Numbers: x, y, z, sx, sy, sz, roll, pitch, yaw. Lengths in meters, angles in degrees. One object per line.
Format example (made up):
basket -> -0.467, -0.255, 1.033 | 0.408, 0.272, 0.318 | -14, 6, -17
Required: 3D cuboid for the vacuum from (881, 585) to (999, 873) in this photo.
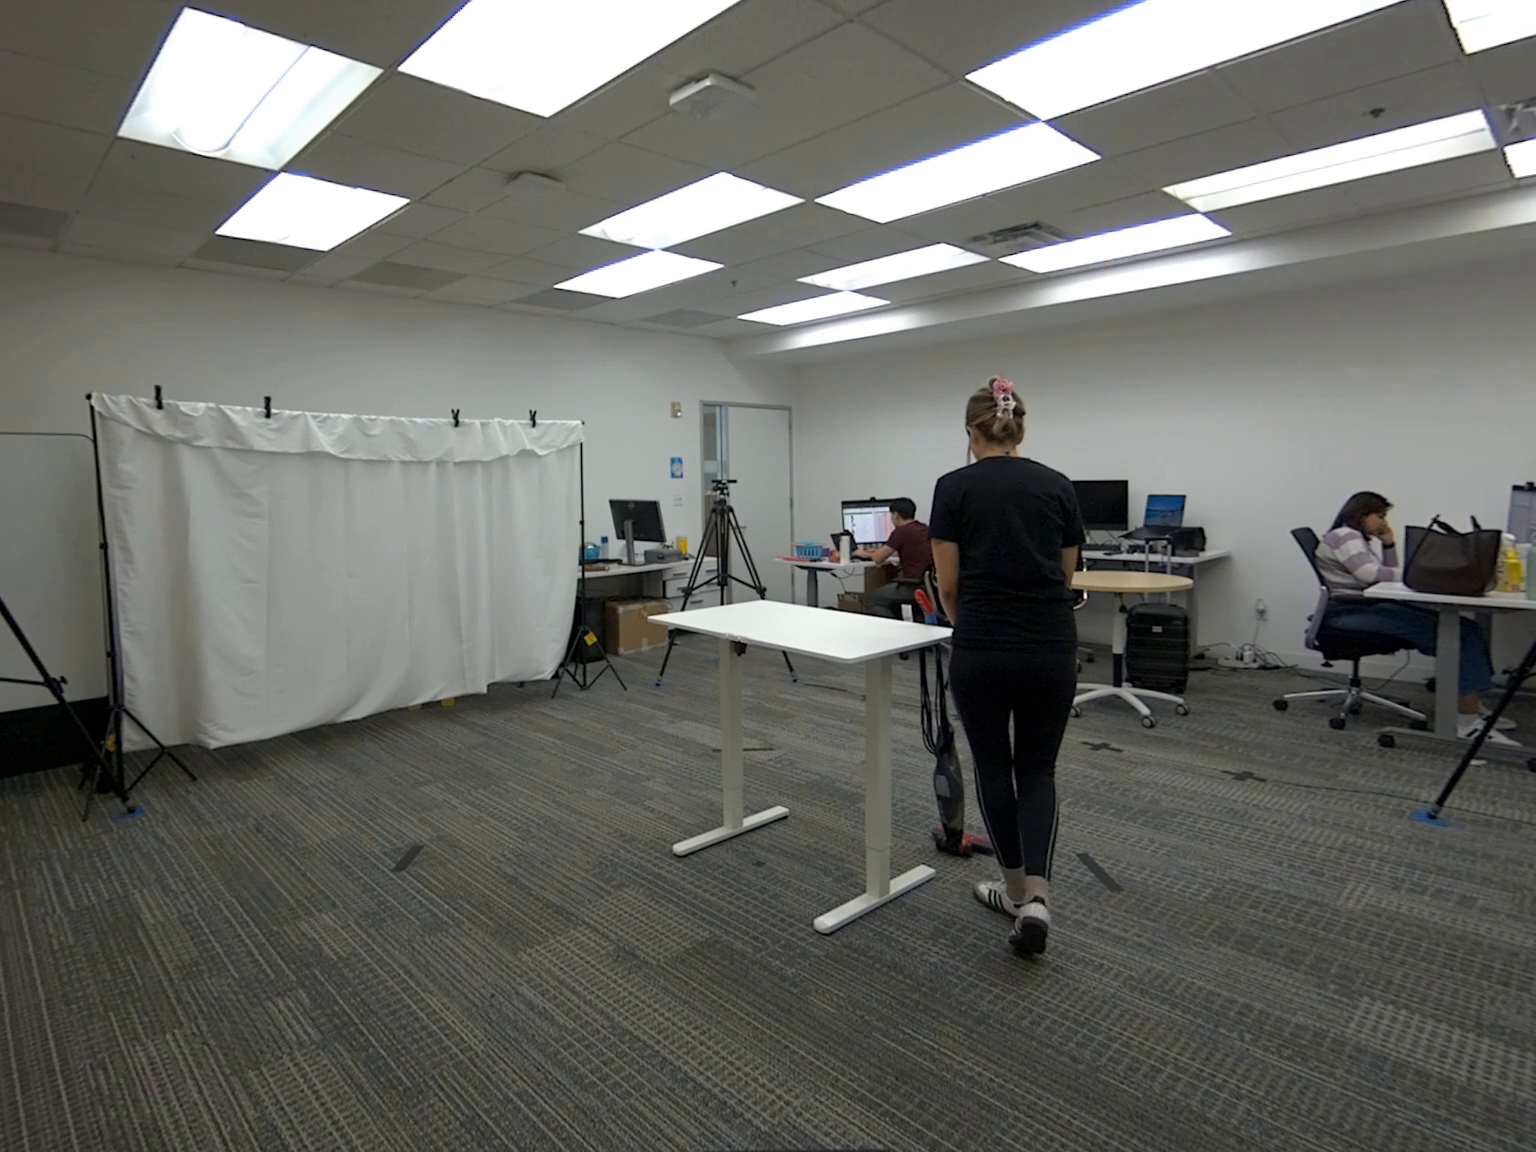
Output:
vacuum -> 0.634, 0.548, 3.054 | 0.260, 1.030, 0.142 | 2, 22, 38
